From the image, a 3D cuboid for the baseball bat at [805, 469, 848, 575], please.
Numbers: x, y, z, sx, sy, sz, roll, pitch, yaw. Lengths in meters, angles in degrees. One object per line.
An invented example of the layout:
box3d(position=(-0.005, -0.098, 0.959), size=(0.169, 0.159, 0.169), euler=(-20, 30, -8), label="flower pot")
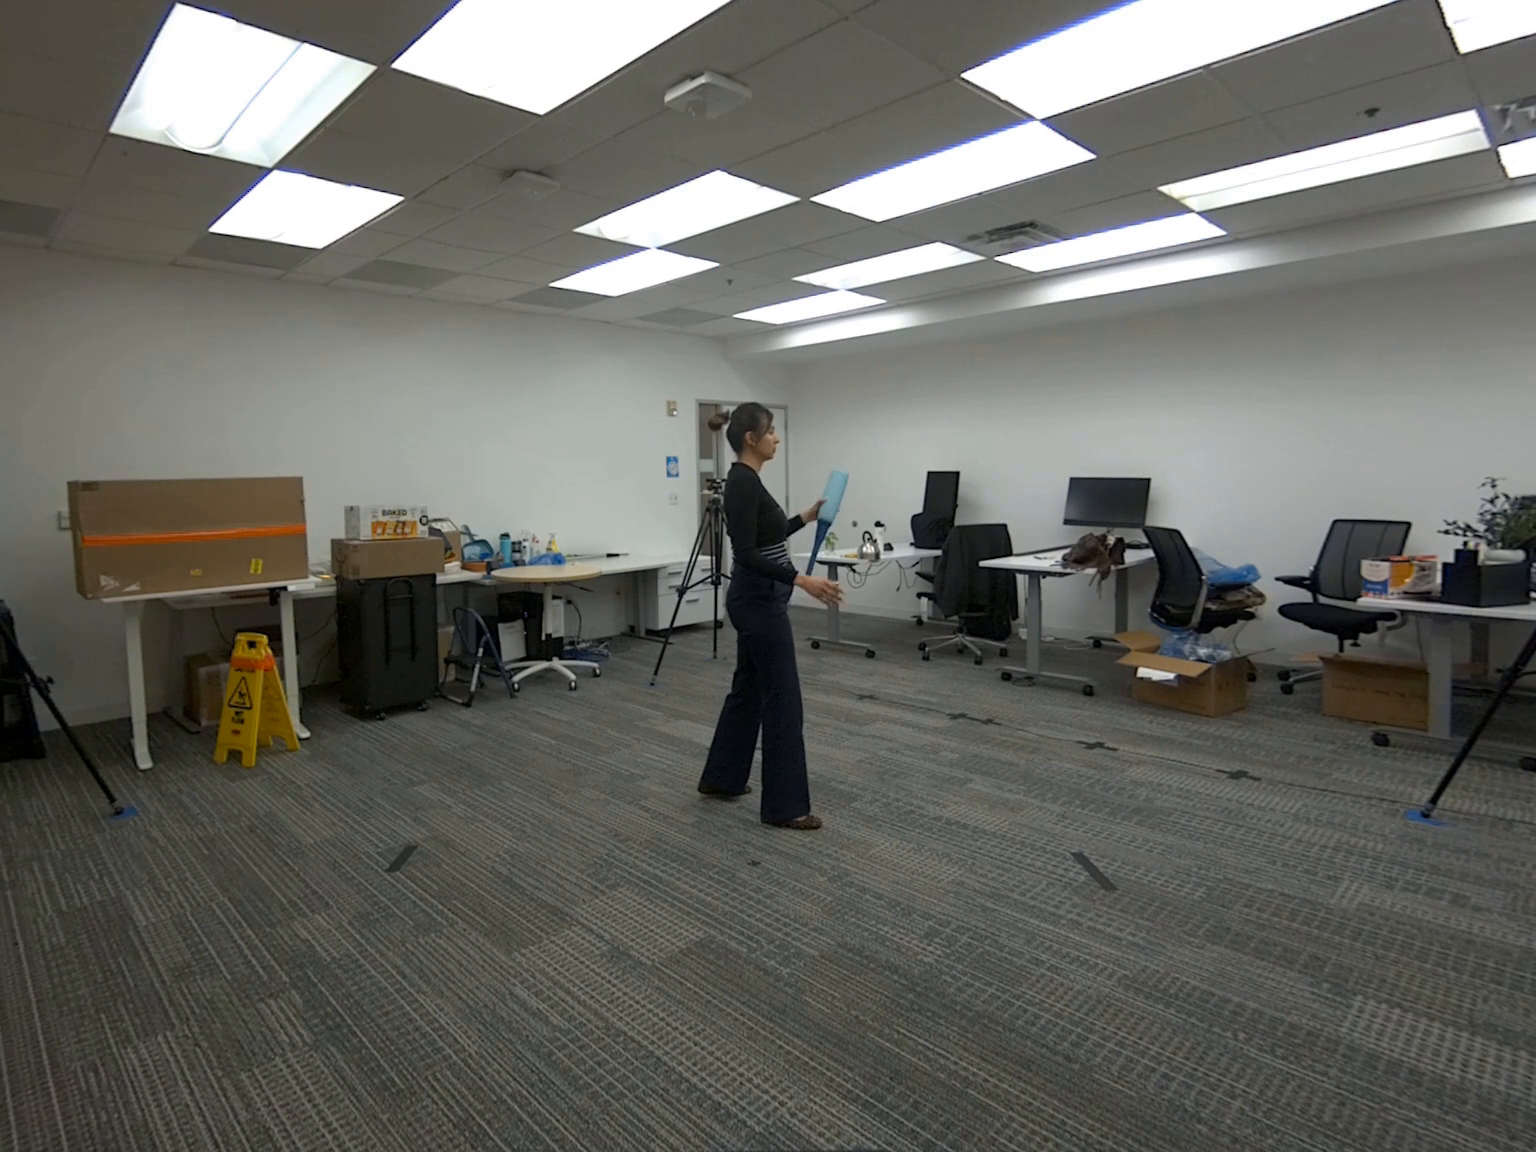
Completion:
box3d(position=(0.232, -0.233, 3.782), size=(0.089, 0.547, 0.088), euler=(17, -14, 2), label="baseball bat")
